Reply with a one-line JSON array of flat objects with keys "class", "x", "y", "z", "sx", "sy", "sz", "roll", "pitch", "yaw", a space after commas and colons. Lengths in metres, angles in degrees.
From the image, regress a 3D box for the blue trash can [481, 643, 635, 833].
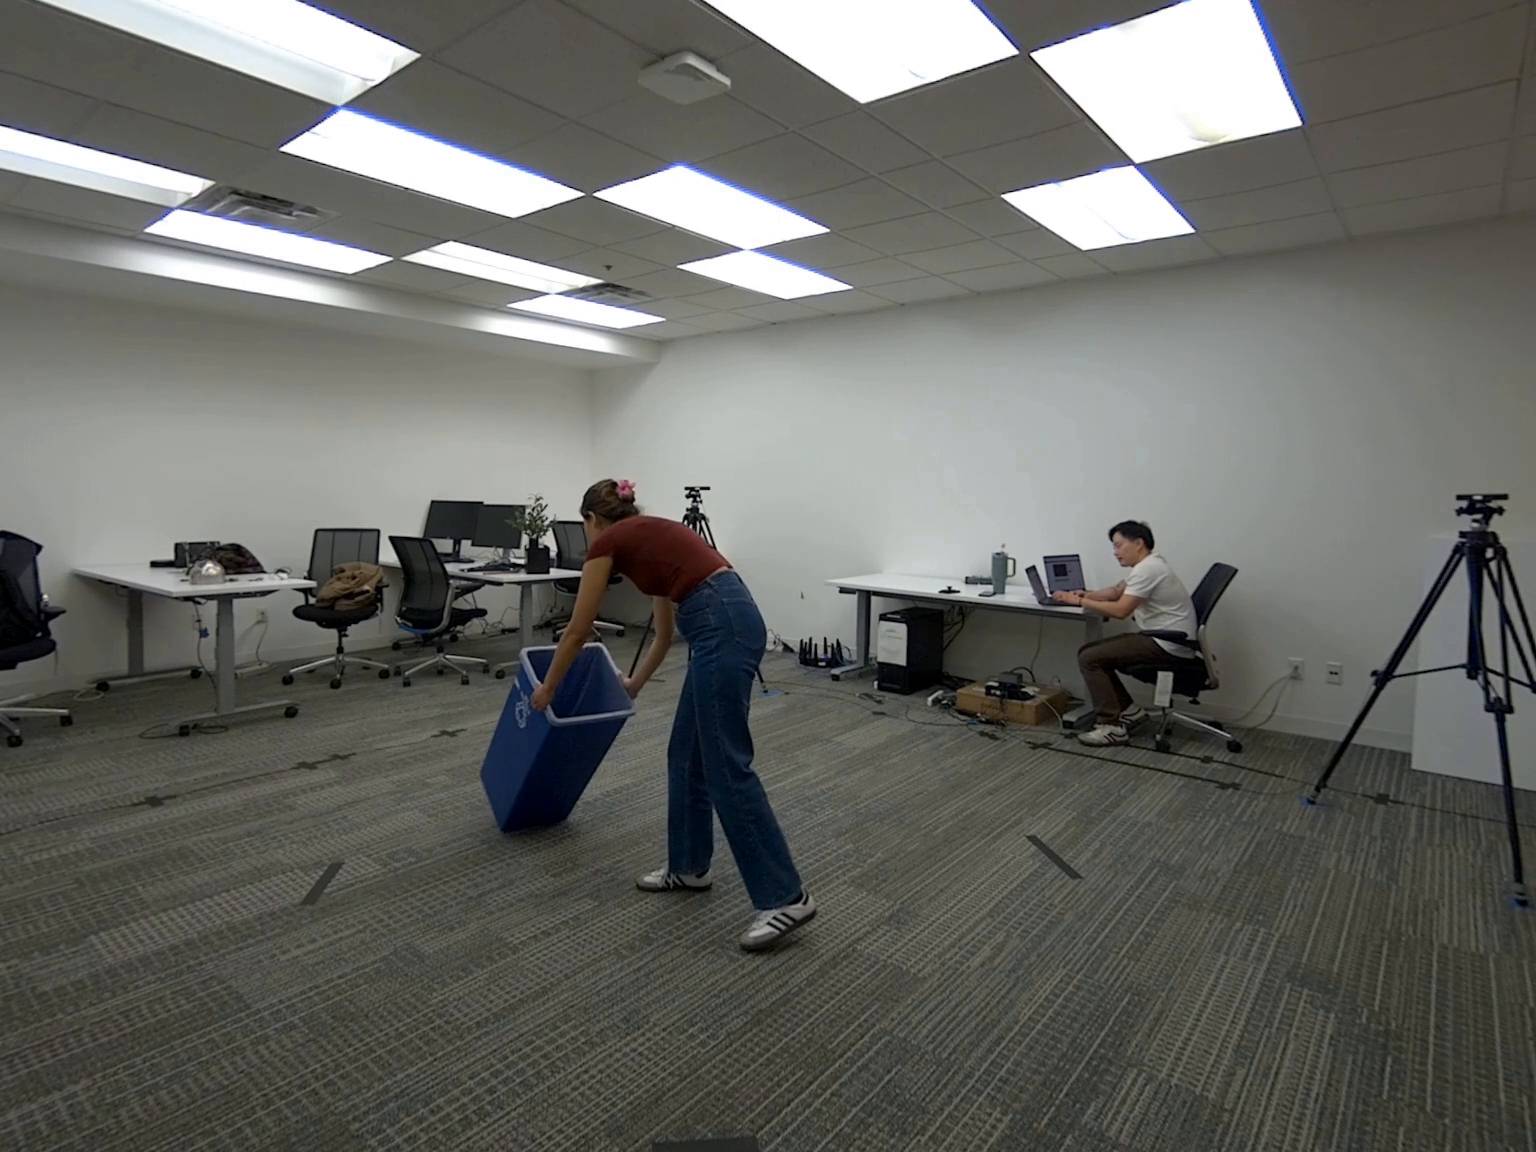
[{"class": "blue trash can", "x": -0.876, "y": 0.658, "z": 3.364, "sx": 0.366, "sy": 0.707, "sz": 0.389, "roll": 0, "pitch": 40, "yaw": -41}]
